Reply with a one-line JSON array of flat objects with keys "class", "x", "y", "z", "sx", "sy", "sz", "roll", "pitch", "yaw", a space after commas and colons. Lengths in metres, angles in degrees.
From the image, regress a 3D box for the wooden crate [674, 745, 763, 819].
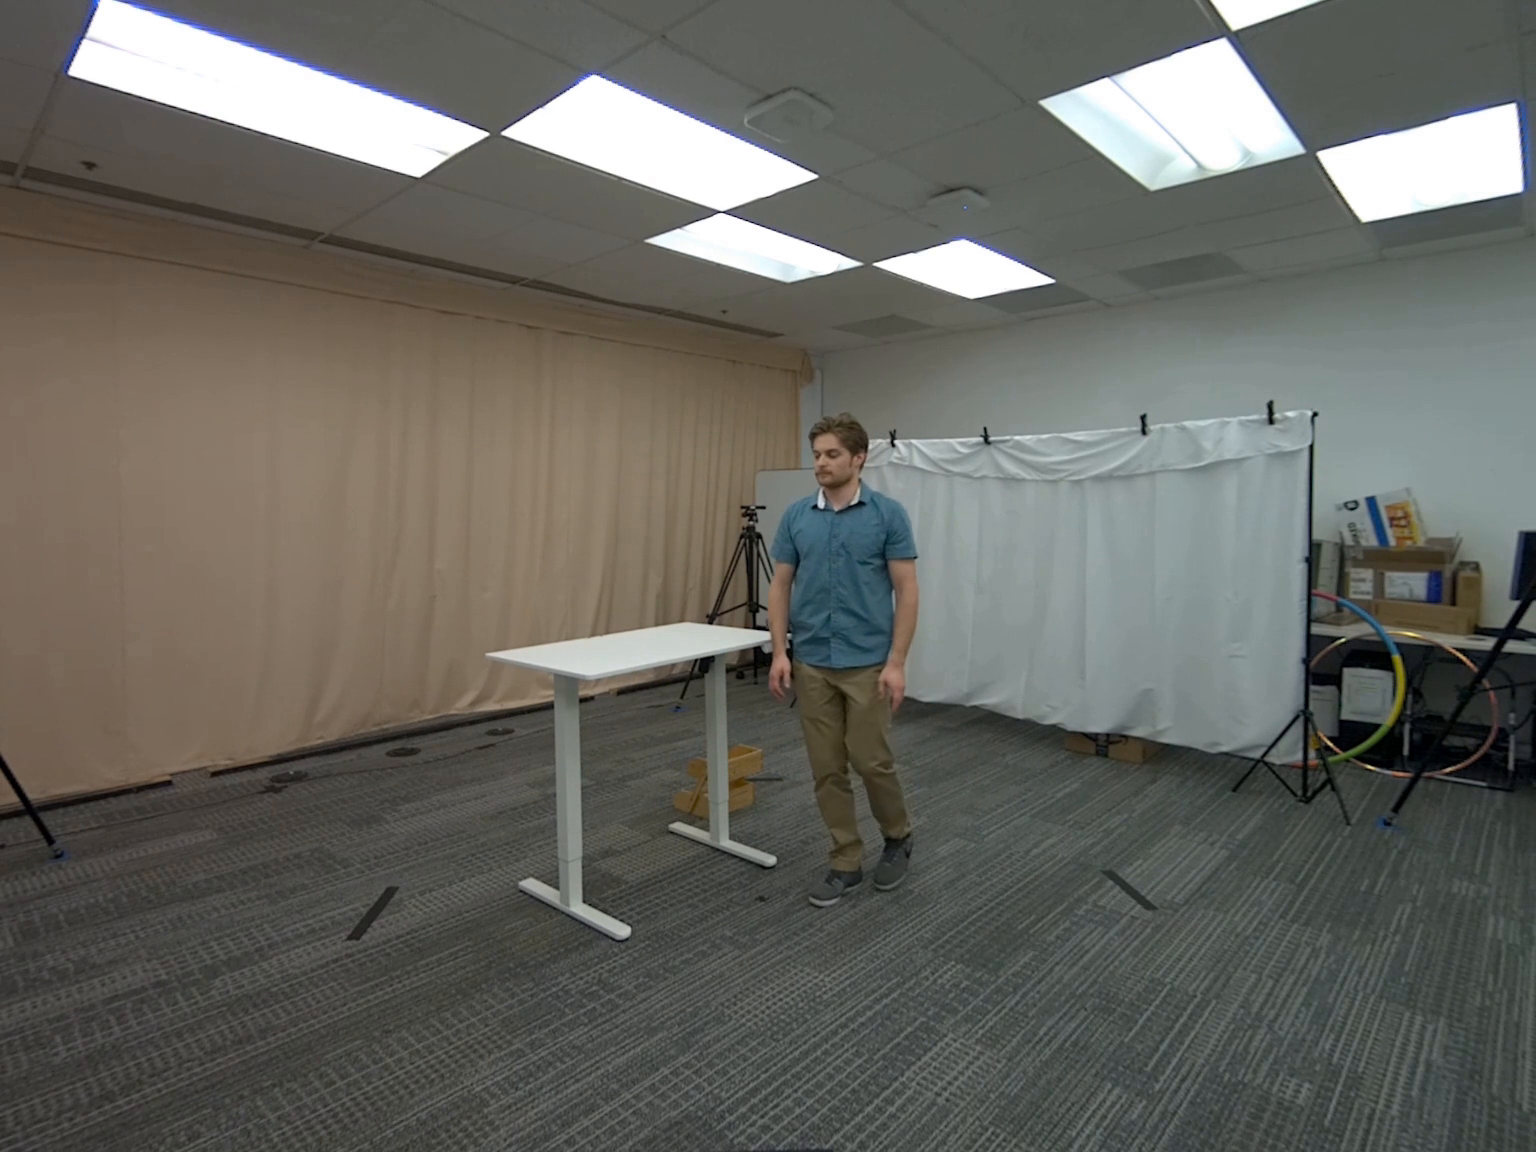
[{"class": "wooden crate", "x": -0.236, "y": 0.934, "z": 3.915, "sx": 0.312, "sy": 0.272, "sz": 0.314, "roll": 5, "pitch": 6, "yaw": 41}]
